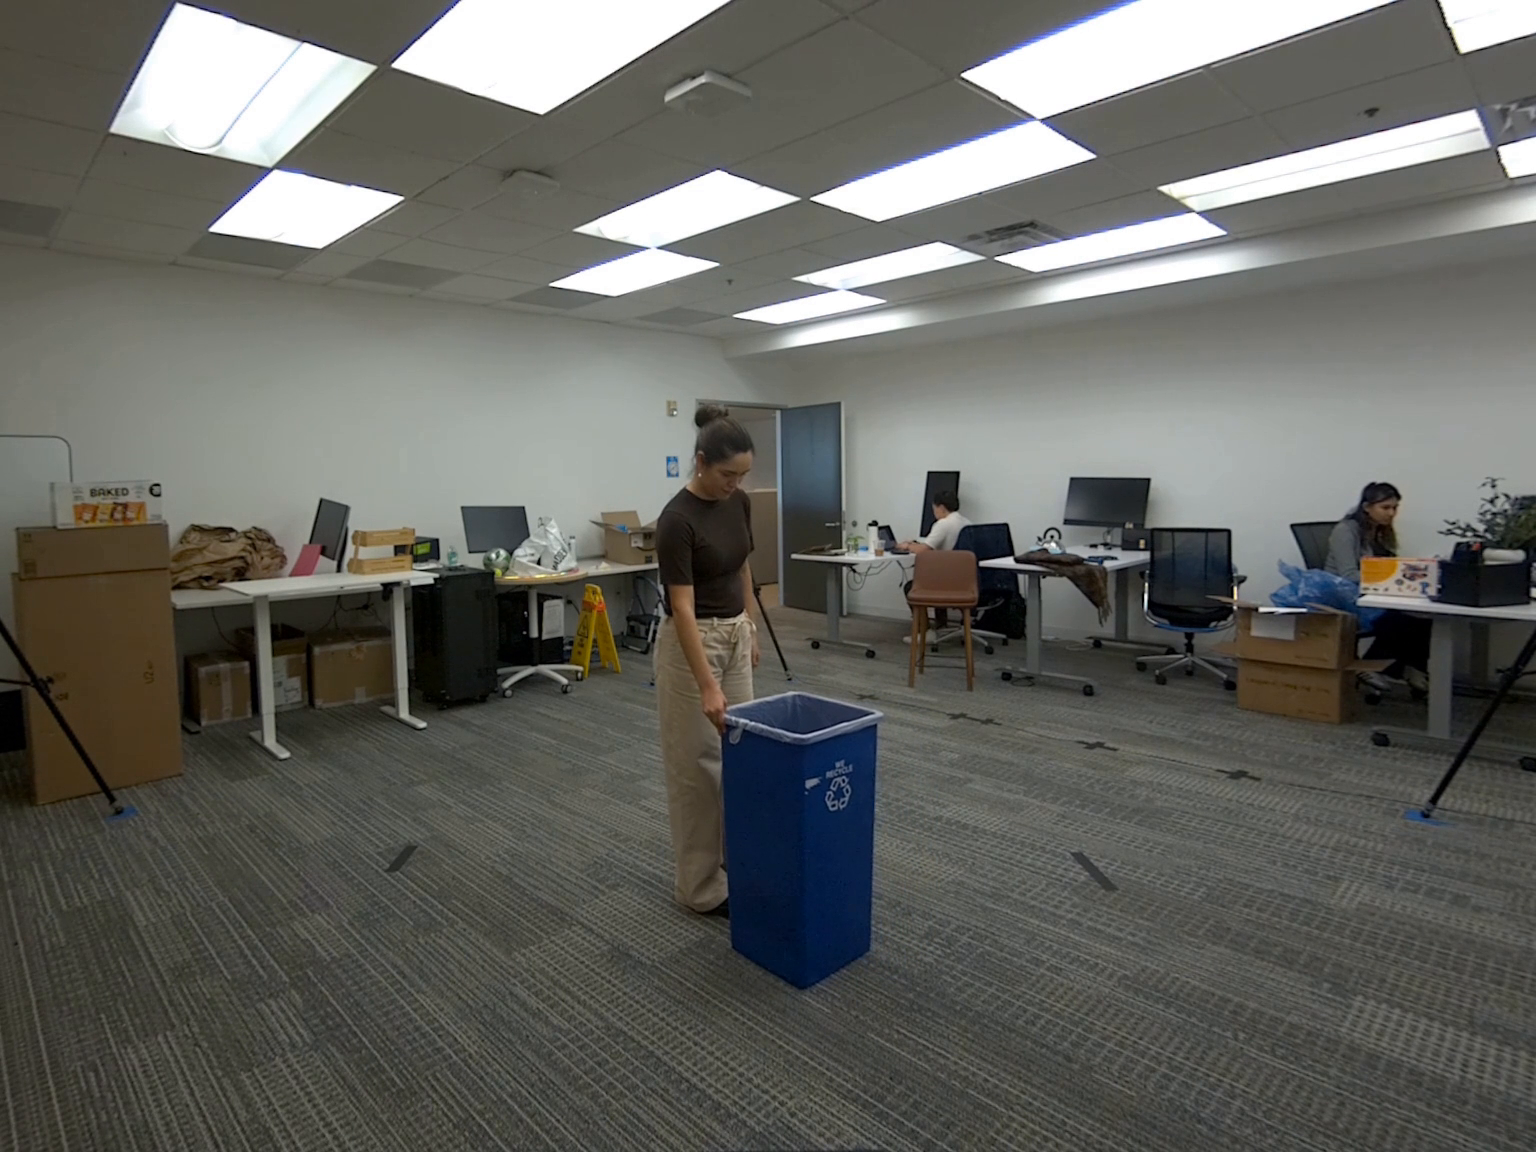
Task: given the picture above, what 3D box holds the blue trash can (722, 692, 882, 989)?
[{"bbox_3d":[0.106,0.751,2.511,0.368,0.711,0.385,-4,5,-44],"label":"blue trash can"}]
